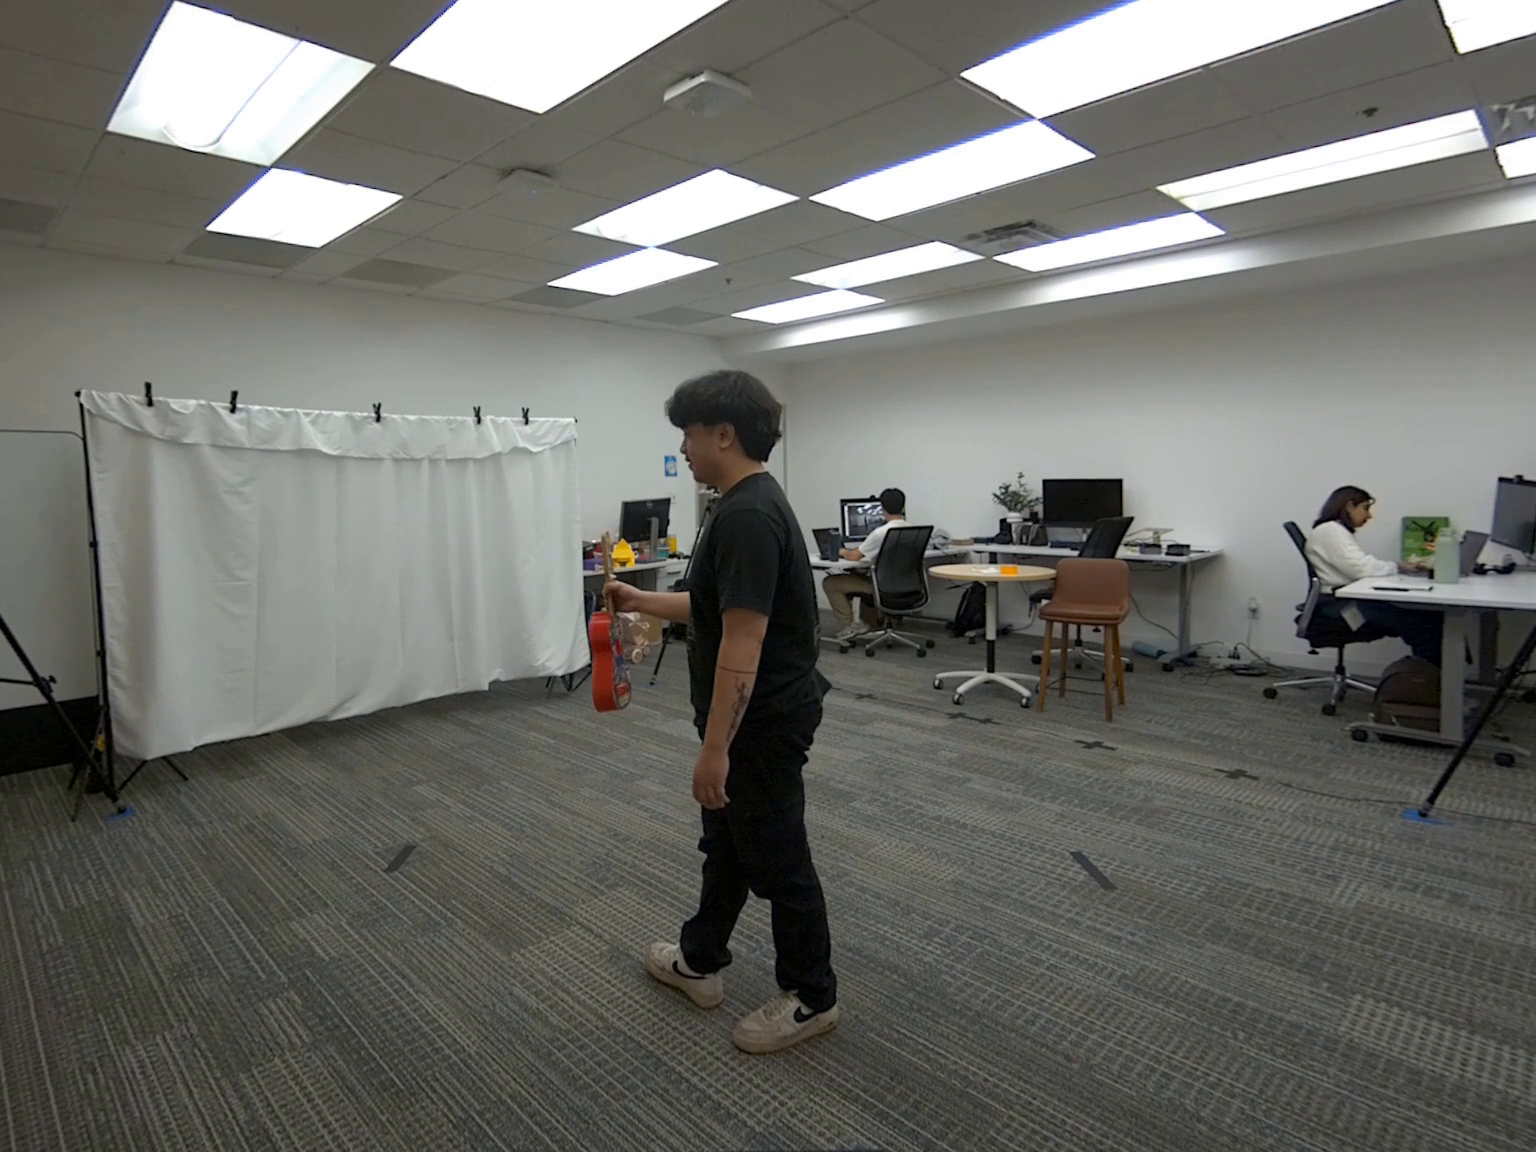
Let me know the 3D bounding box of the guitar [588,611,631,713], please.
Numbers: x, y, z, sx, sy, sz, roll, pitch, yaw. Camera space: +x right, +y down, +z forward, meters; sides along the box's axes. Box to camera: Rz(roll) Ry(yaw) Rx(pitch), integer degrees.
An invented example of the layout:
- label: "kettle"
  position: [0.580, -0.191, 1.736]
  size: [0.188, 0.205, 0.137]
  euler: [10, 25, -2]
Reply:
- label: "guitar"
  position: [-0.446, 0.131, 2.423]
  size: [0.071, 0.502, 0.190]
  euler: [-6, -9, 6]
